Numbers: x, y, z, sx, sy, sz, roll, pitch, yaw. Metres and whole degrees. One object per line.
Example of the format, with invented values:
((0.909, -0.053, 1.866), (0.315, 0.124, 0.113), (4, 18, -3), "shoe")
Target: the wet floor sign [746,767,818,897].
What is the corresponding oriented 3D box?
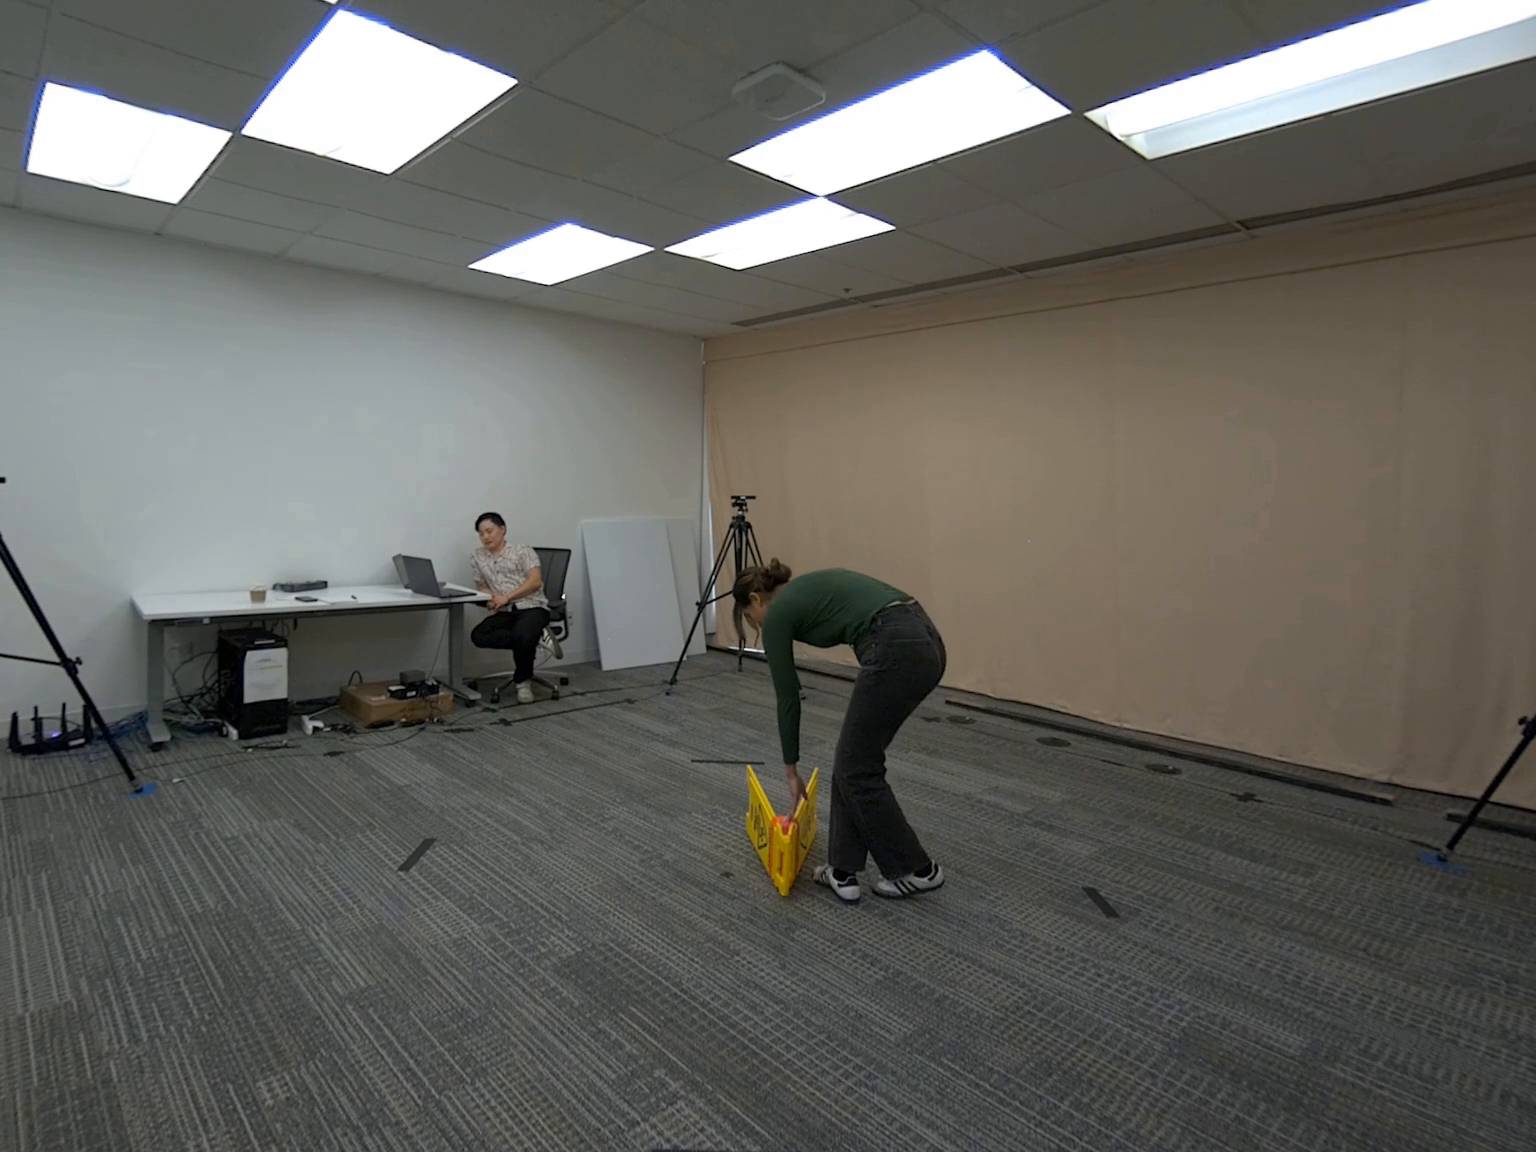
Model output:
((0.053, 0.965, 3.197), (0.290, 0.281, 0.648), (1, 7, 0), "wet floor sign")
